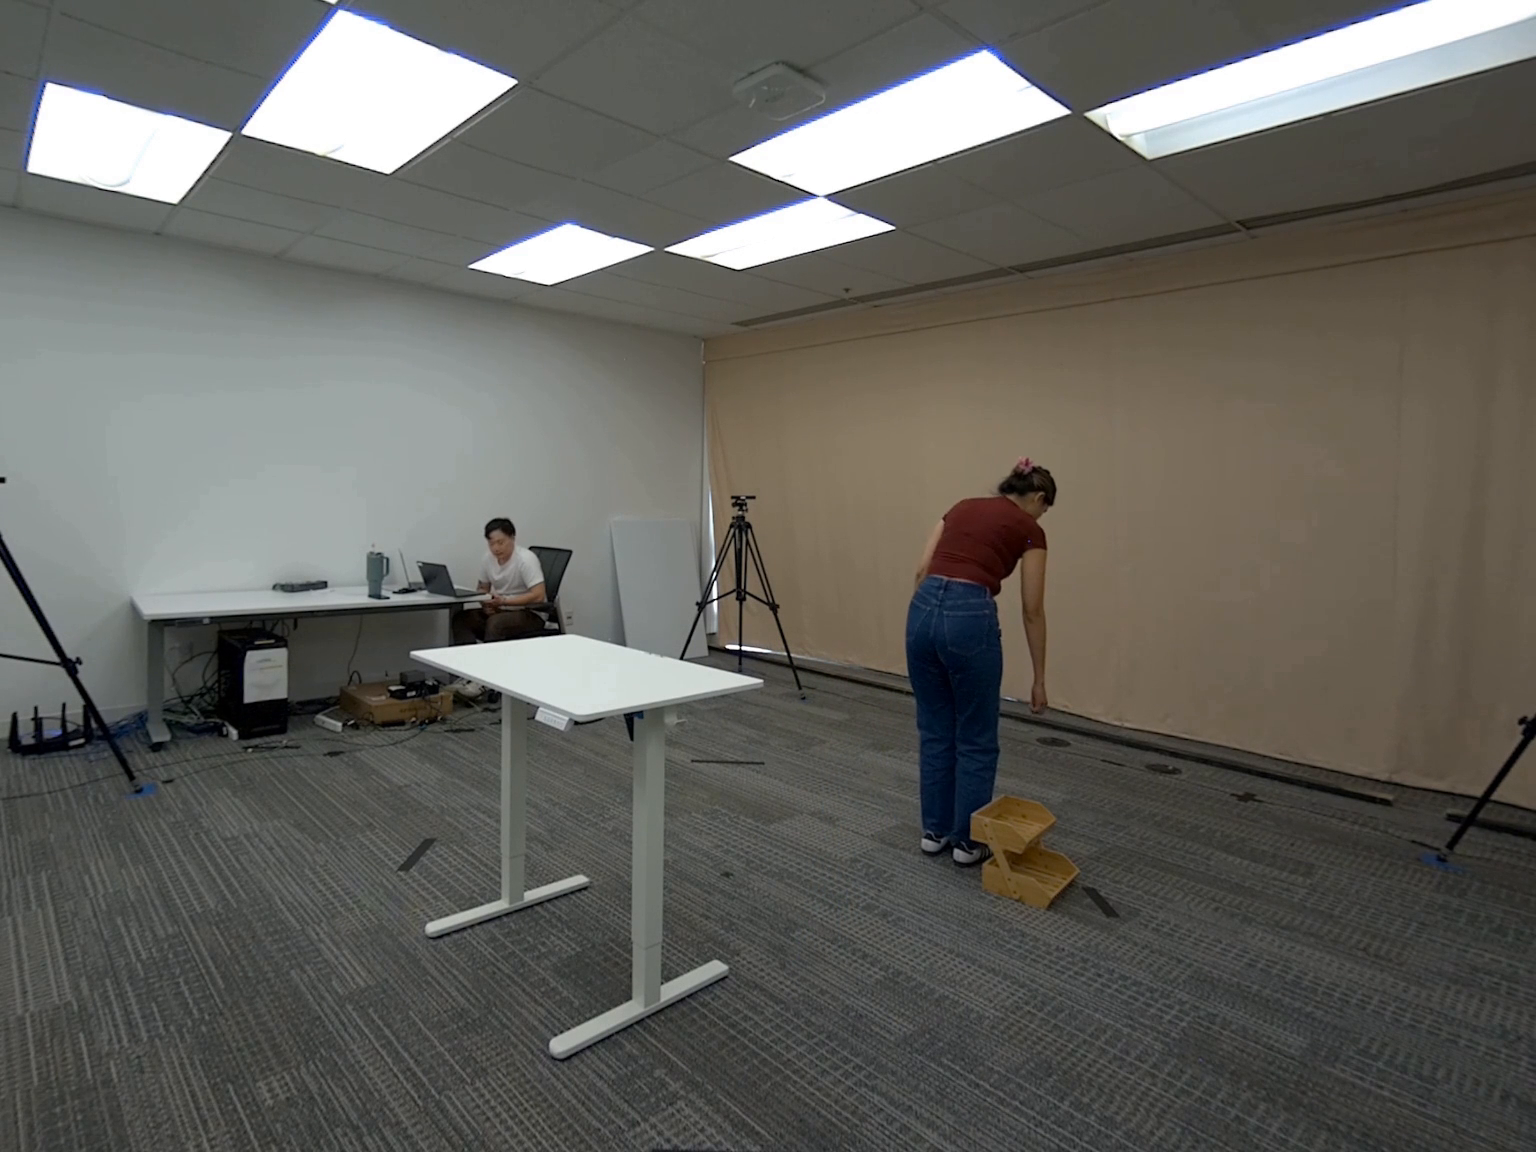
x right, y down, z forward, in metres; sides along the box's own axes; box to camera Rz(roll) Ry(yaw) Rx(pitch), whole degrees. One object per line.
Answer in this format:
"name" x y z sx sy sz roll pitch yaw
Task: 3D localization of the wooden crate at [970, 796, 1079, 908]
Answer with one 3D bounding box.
"wooden crate" 0.940 1.001 3.088 0.309 0.273 0.317 4 5 39
